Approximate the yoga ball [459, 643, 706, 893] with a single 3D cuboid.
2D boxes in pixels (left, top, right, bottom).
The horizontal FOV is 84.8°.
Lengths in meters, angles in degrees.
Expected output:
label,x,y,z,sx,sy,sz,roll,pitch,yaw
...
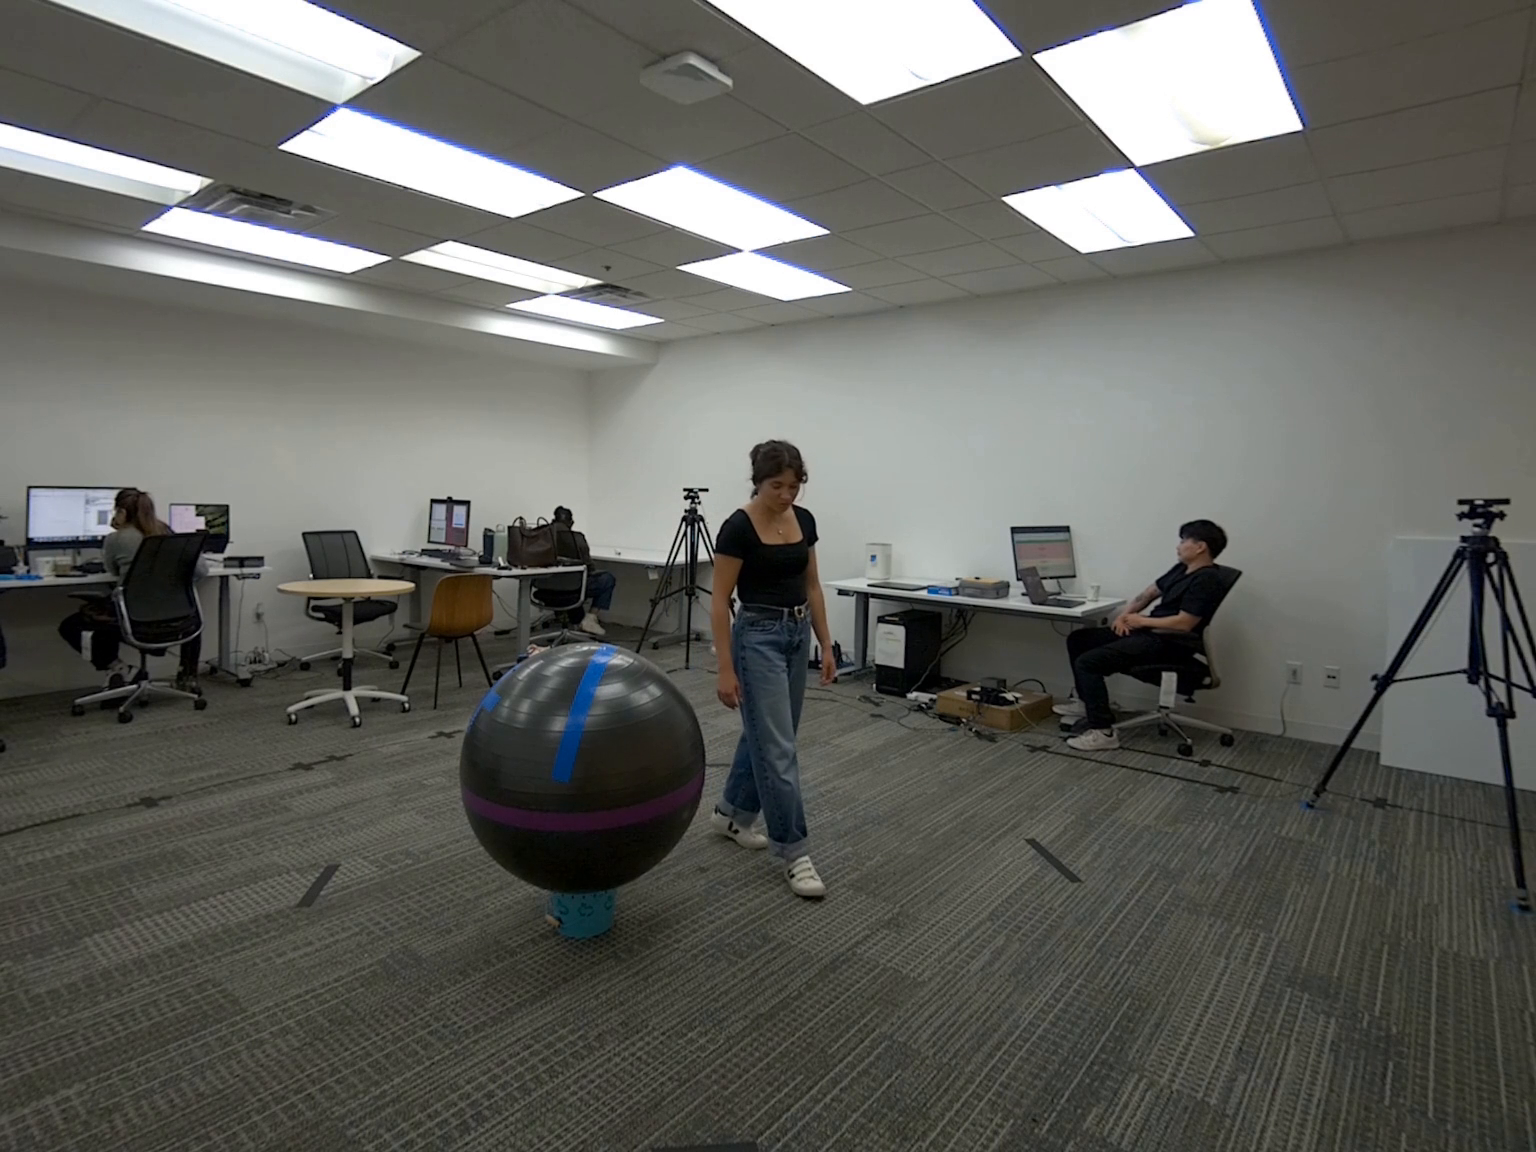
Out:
label,x,y,z,sx,sy,sz,roll,pitch,yaw
yoga ball,-0.586,0.592,2.677,0.757,0.755,0.762,1,4,-2
